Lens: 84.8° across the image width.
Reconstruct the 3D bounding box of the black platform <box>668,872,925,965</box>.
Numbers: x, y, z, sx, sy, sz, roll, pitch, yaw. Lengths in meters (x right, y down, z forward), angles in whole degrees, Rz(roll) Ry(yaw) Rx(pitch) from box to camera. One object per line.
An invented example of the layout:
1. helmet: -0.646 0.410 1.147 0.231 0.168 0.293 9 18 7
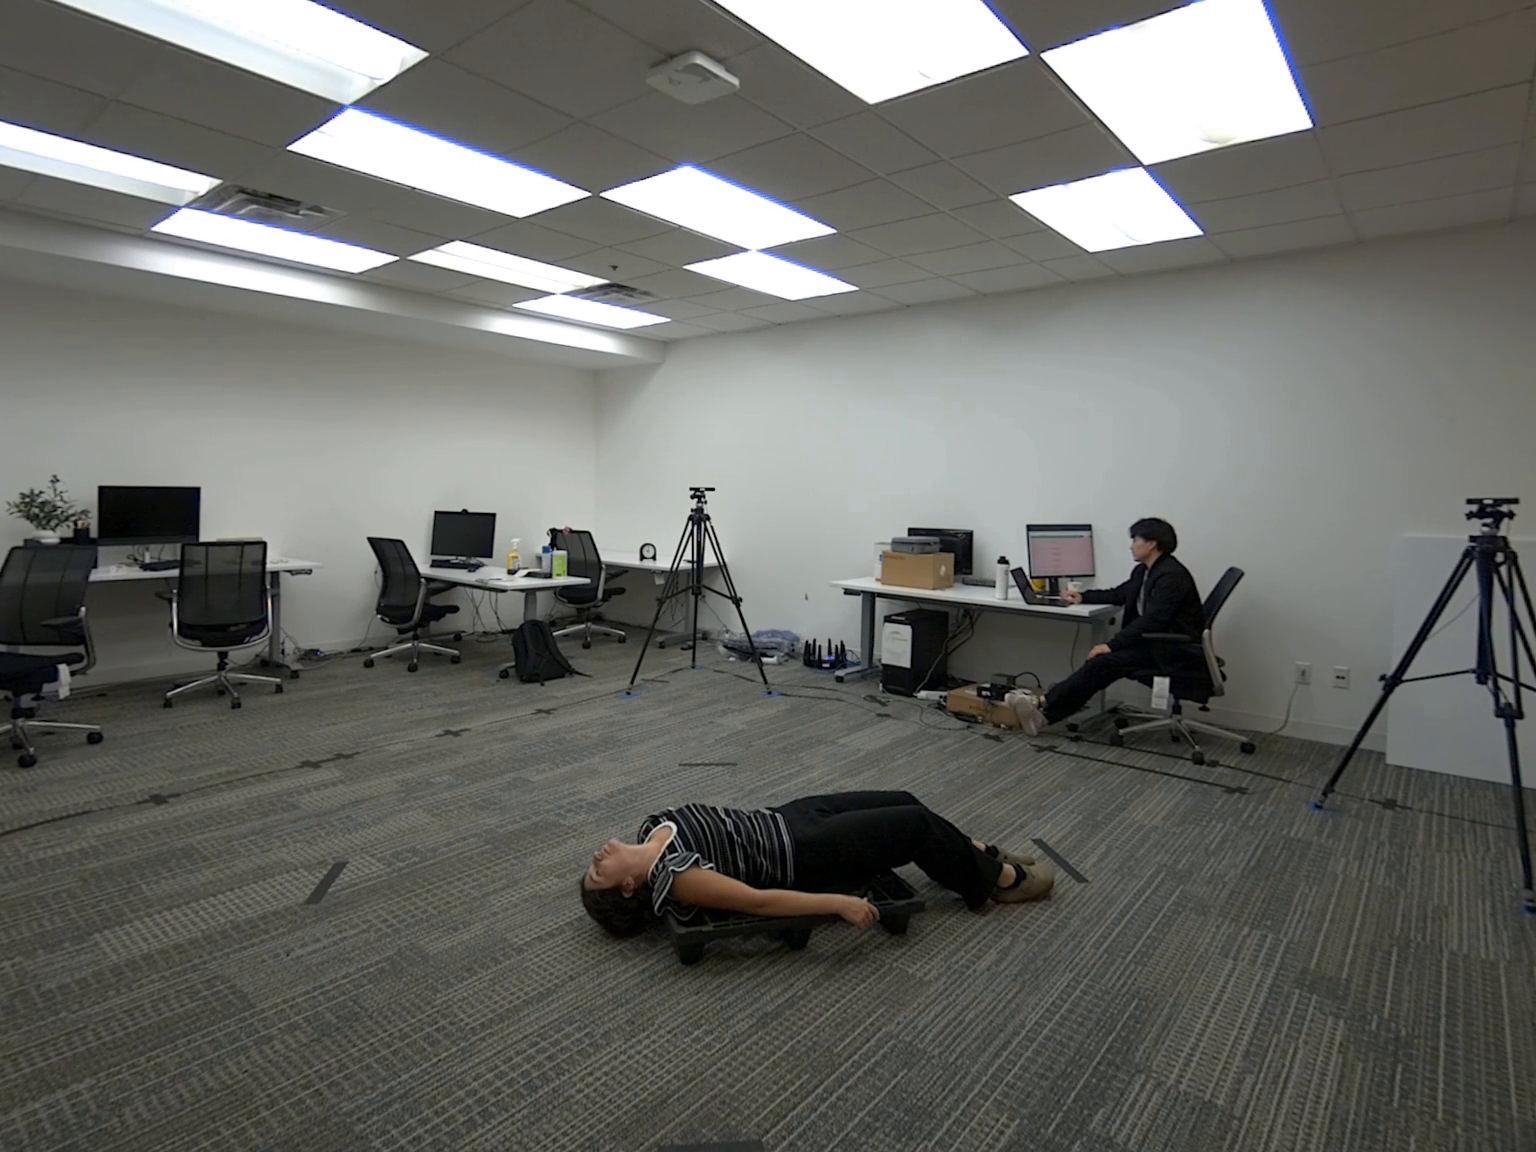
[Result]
1. black platform: 0.018 1.038 2.792 0.791 0.143 0.618 0 4 -18
